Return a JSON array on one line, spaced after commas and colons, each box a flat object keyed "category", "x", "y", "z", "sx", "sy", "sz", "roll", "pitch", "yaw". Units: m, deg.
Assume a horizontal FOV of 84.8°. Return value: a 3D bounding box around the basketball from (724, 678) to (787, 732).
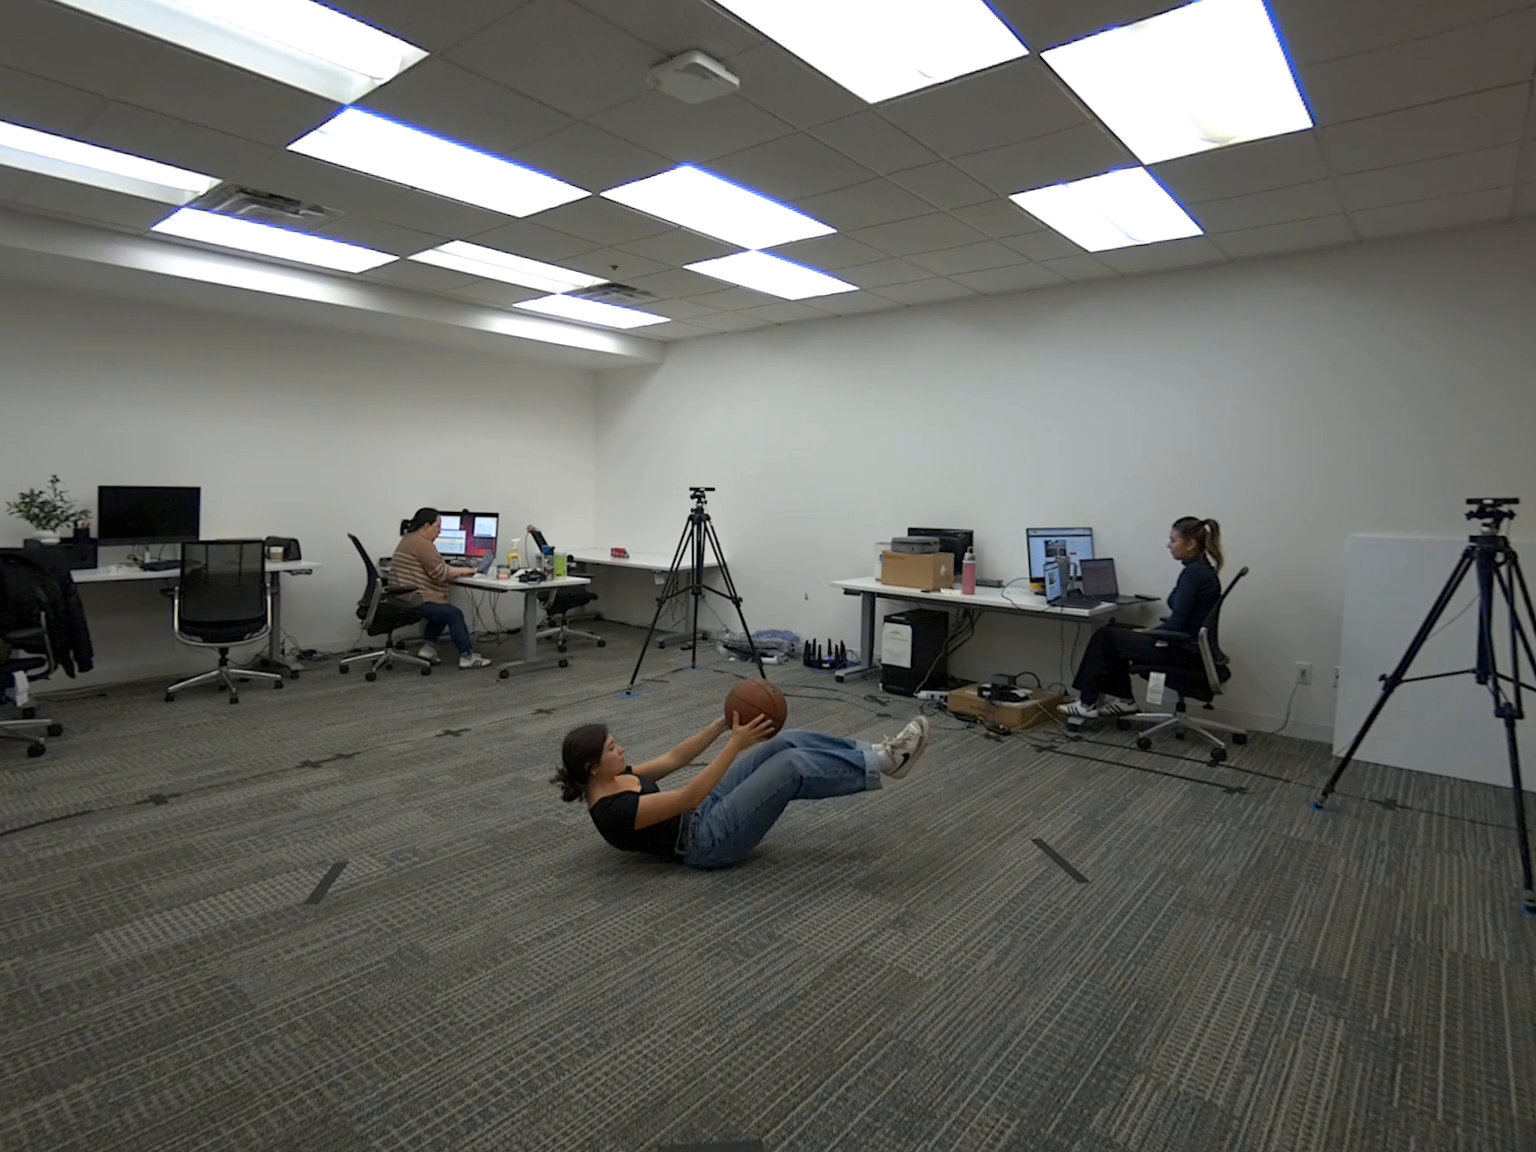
[{"category": "basketball", "x": -0.068, "y": 0.500, "z": 3.215, "sx": 0.235, "sy": 0.235, "sz": 0.237, "roll": 1, "pitch": 4, "yaw": -2}]
